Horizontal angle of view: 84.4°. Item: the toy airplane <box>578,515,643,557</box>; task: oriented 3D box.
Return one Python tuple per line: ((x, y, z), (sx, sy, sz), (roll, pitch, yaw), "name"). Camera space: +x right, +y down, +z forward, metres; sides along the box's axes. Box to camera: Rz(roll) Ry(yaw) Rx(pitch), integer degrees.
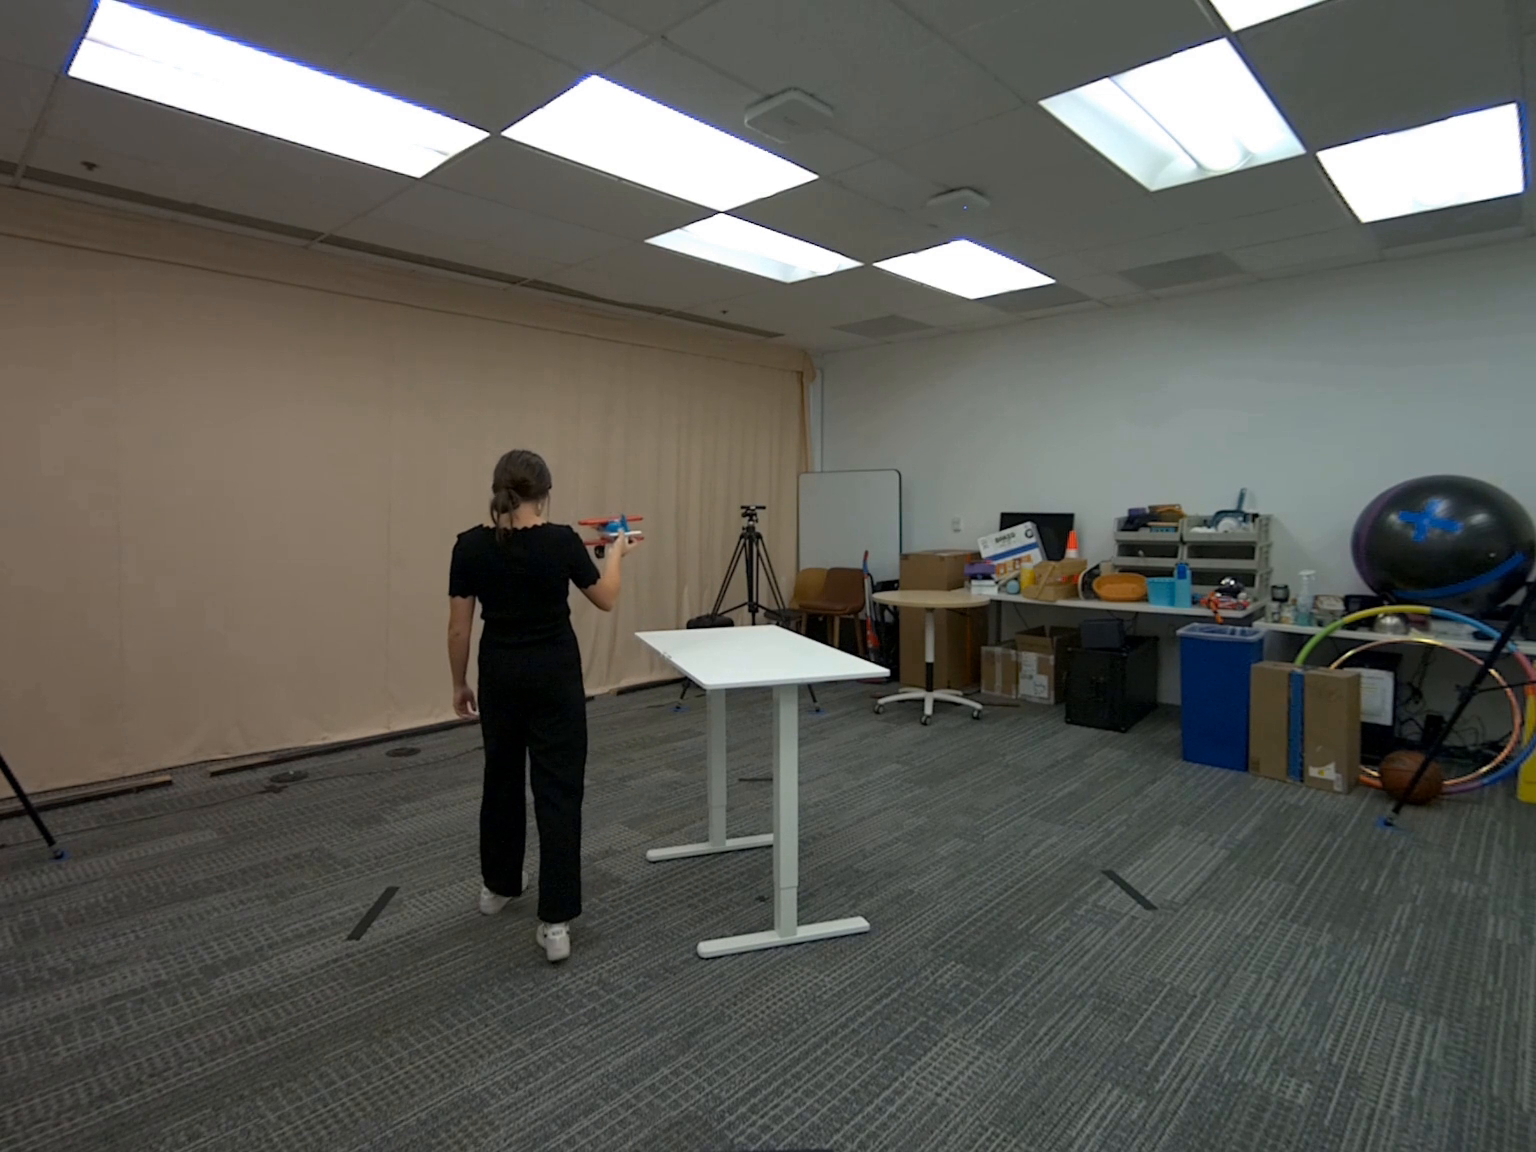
((-0.567, -0.158, 3.208), (0.265, 0.157, 0.244), (-14, -6, 33), "toy airplane")
